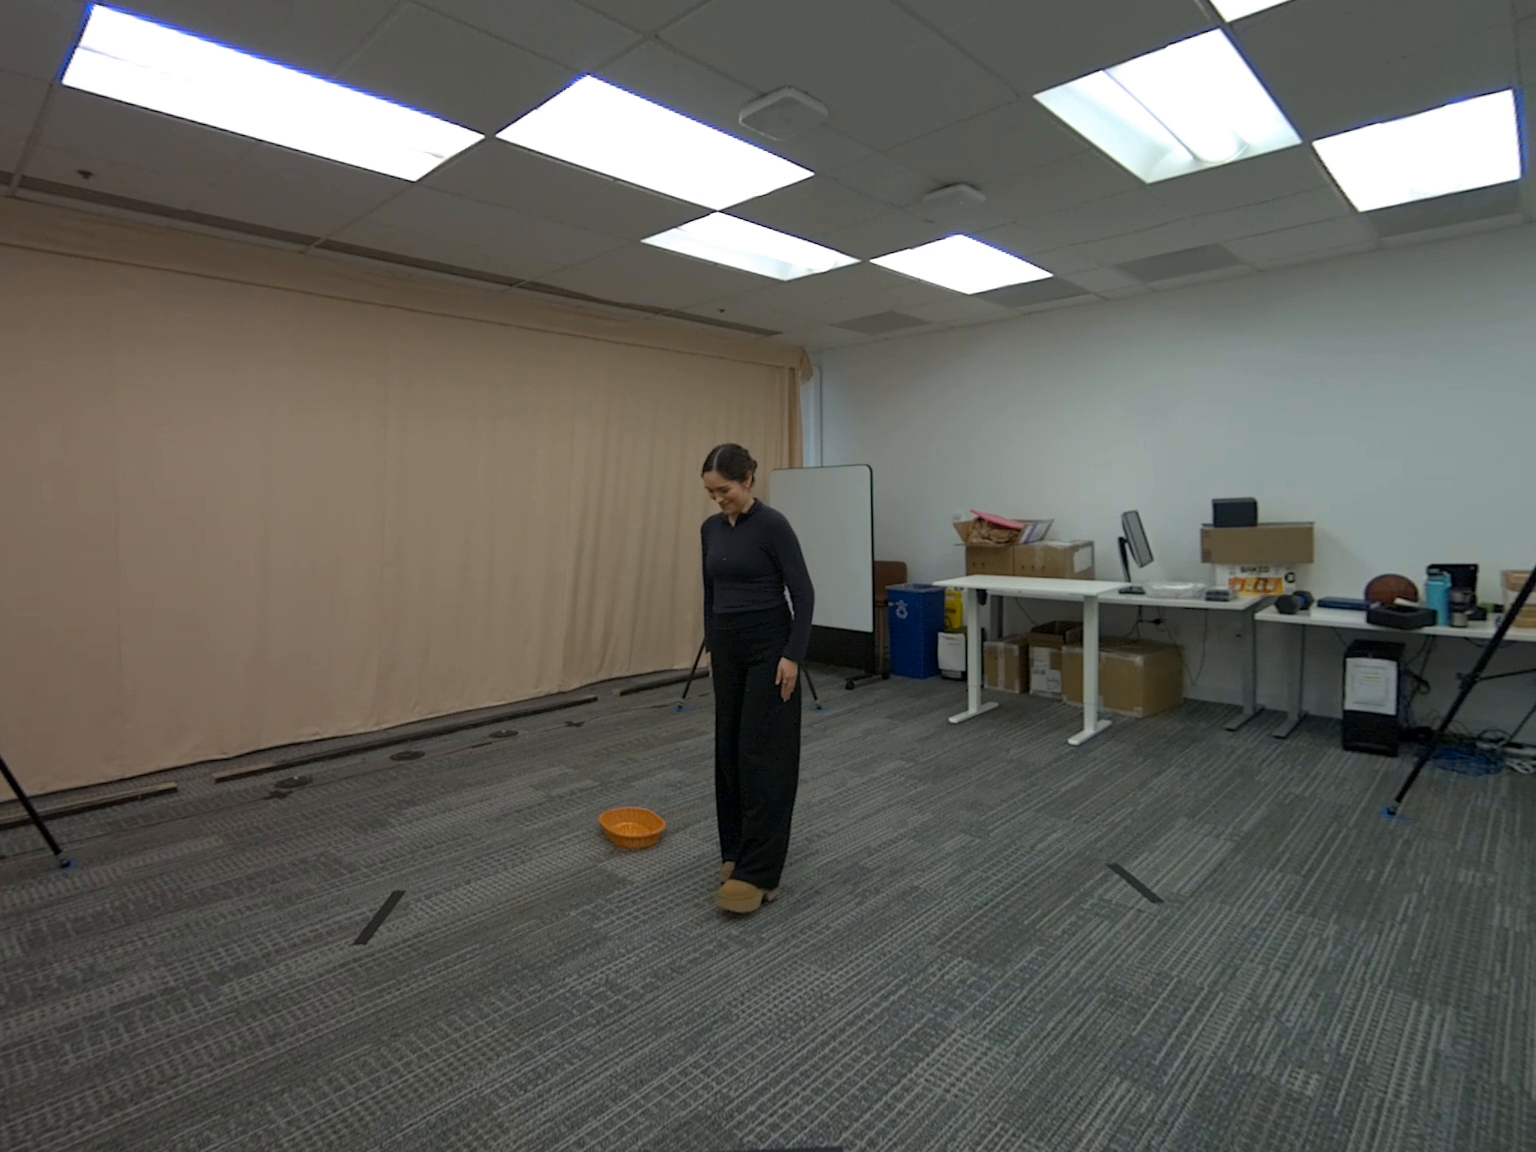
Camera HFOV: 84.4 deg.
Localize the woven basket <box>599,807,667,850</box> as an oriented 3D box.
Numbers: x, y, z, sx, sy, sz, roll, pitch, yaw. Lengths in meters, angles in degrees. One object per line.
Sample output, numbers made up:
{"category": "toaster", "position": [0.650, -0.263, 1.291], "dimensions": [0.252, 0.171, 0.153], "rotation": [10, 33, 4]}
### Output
{"category": "woven basket", "position": [-0.577, 1.062, 3.550], "dimensions": [0.246, 0.073, 0.360], "rotation": [-3, 5, -26]}
